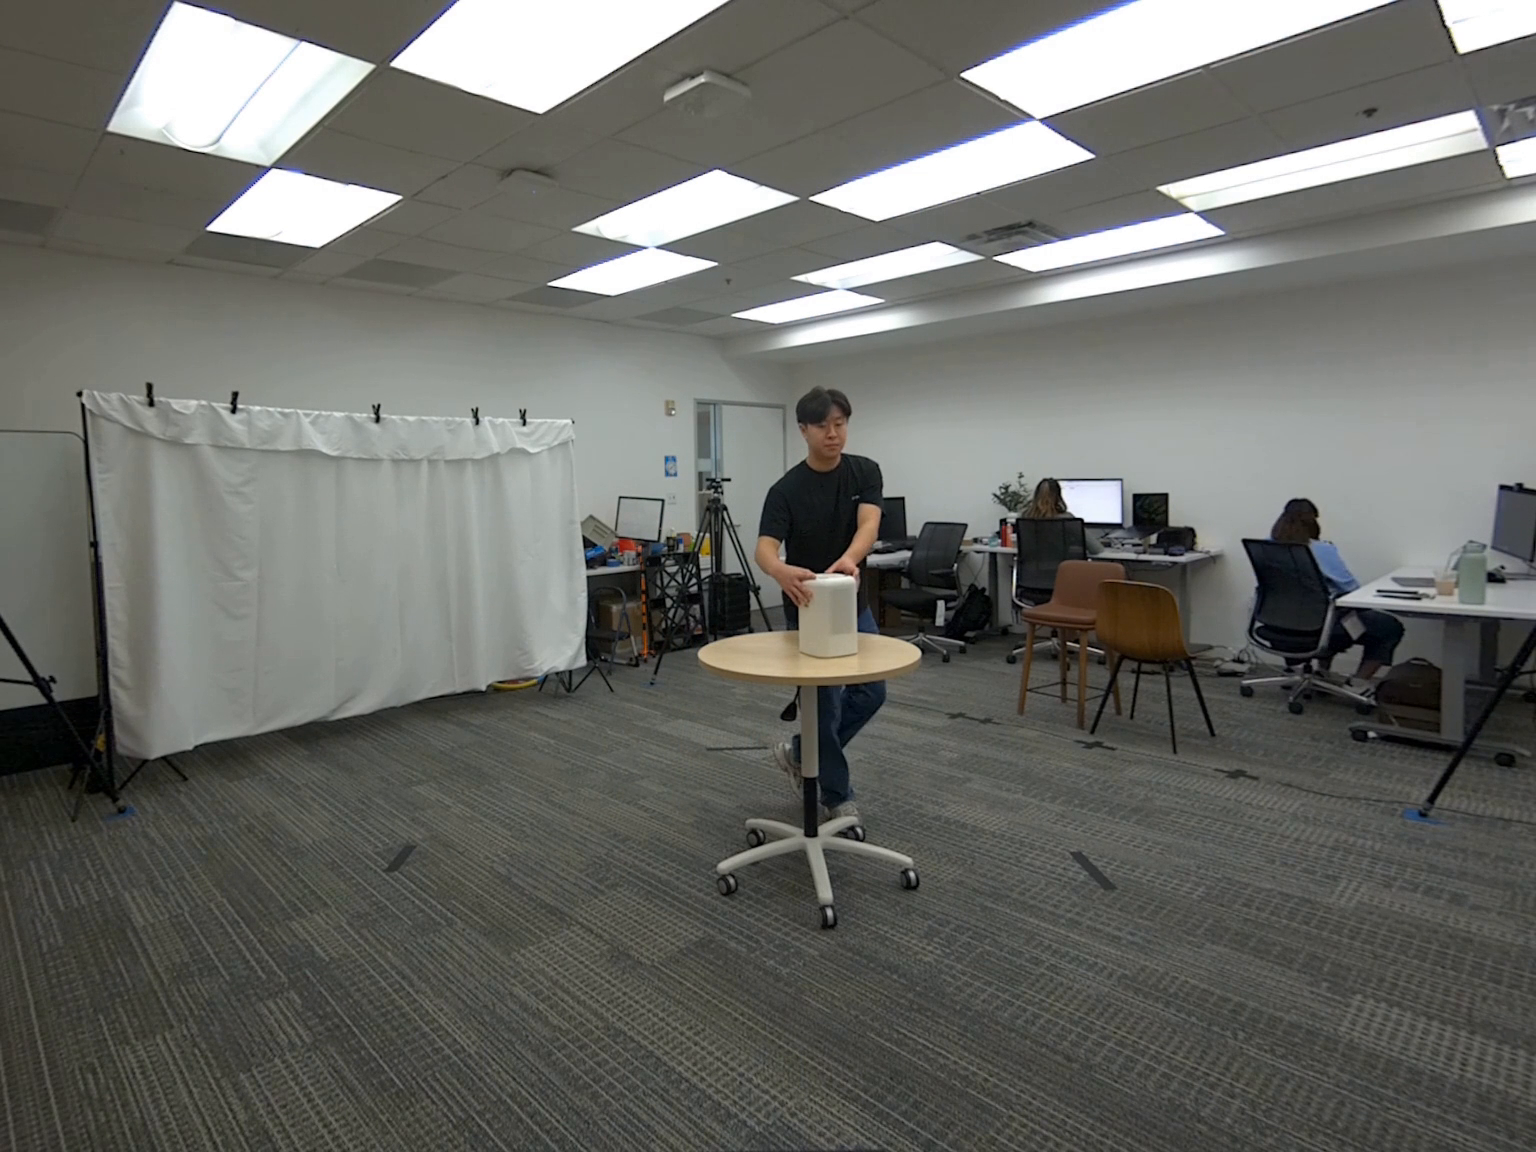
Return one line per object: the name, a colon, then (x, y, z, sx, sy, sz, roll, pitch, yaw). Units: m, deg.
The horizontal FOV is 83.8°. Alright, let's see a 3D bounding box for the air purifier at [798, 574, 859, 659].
air purifier: (0.209, 0.134, 2.917, 0.168, 0.264, 0.176, -4, 6, -28)
